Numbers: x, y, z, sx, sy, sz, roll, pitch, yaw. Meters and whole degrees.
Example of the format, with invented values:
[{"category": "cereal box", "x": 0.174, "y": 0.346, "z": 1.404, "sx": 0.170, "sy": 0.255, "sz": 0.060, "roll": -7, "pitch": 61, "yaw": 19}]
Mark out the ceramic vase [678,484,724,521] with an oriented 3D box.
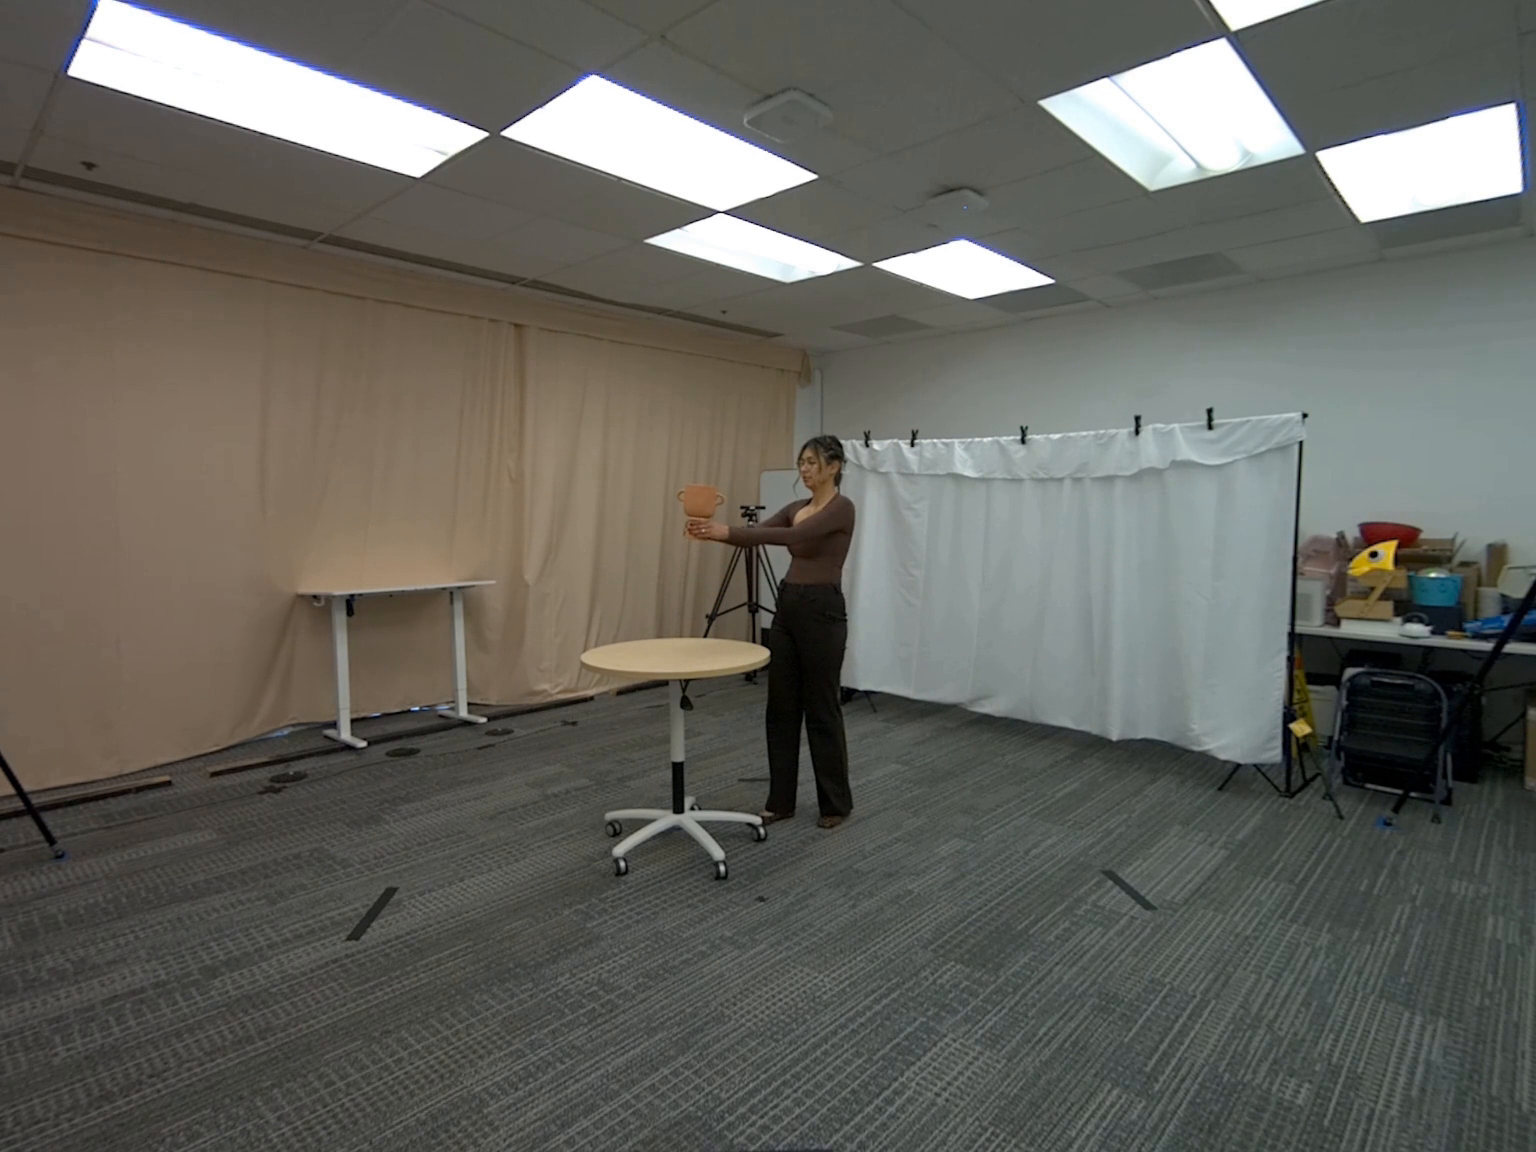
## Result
[{"category": "ceramic vase", "x": -0.282, "y": -0.260, "z": 3.435, "sx": 0.130, "sy": 0.219, "sz": 0.164, "roll": 0, "pitch": 7, "yaw": -42}]
